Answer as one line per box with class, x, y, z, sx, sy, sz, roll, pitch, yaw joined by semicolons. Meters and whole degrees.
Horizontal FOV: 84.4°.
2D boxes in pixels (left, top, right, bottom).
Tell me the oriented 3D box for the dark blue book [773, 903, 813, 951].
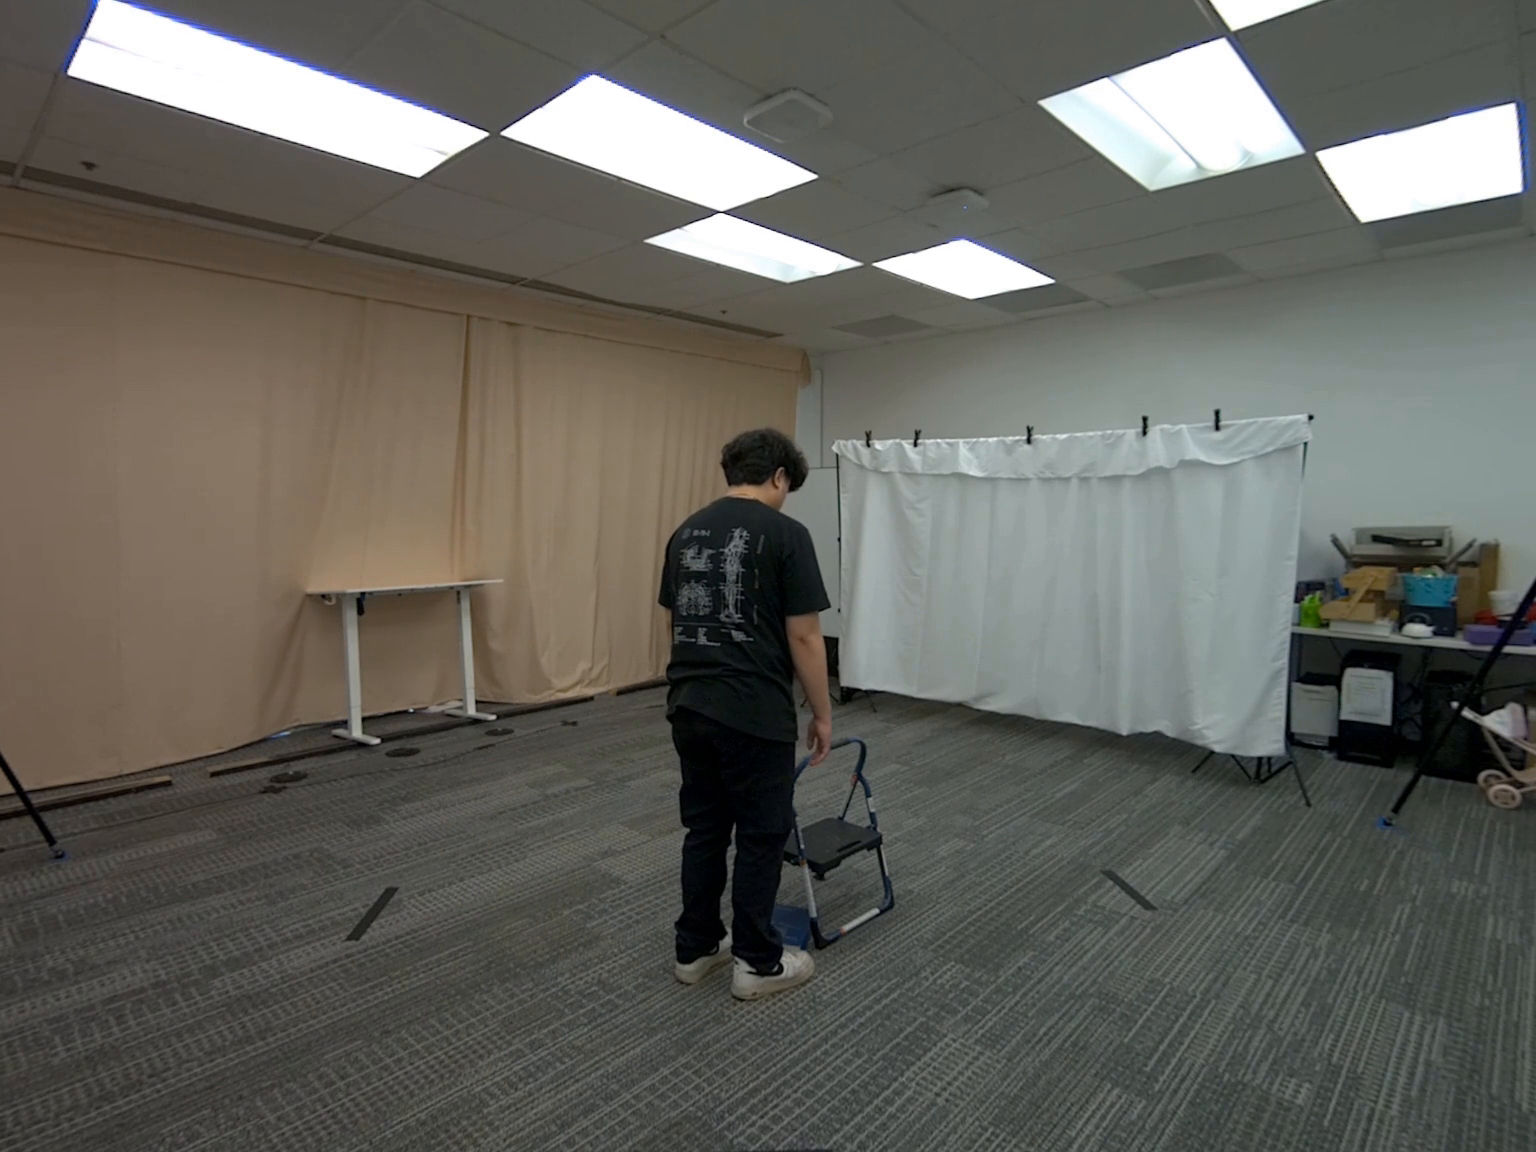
dark blue book;0.069;1.150;2.712;0.166;0.045;0.241;1;5;17
